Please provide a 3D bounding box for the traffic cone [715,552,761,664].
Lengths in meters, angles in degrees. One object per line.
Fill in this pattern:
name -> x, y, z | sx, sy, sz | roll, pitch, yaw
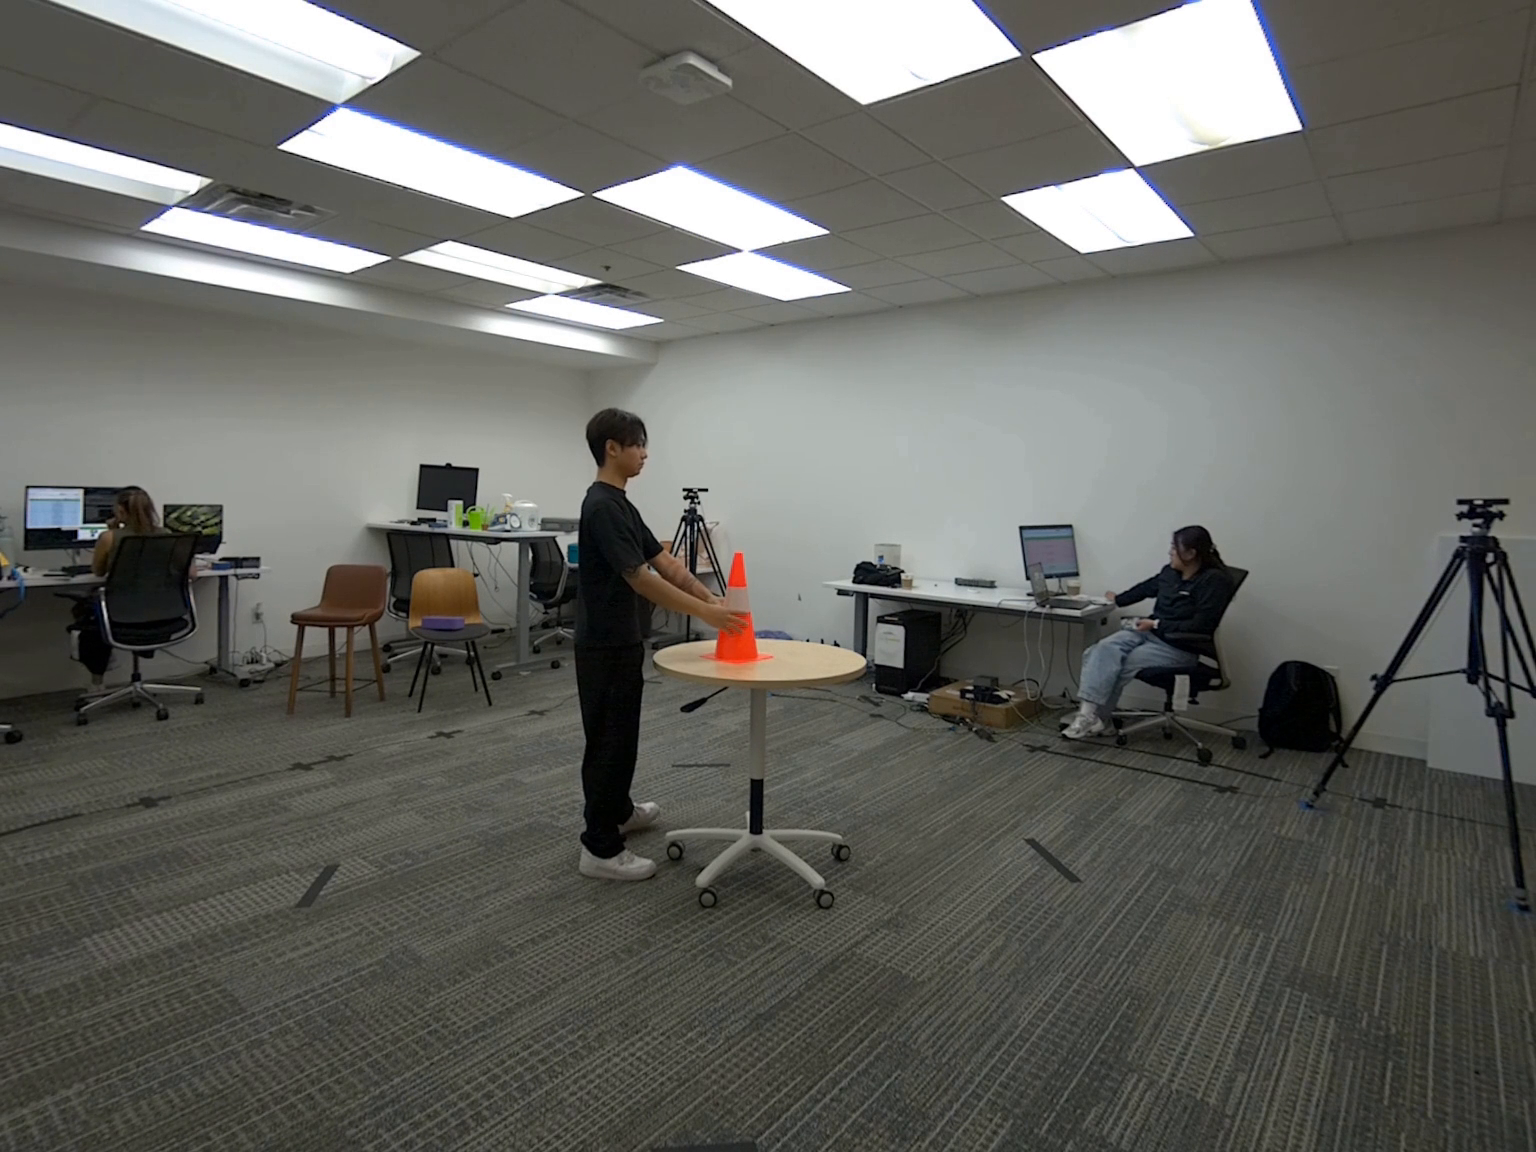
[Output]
traffic cone -> -0.121, 0.107, 3.073 | 0.211, 0.382, 0.198 | 3, 4, 34
